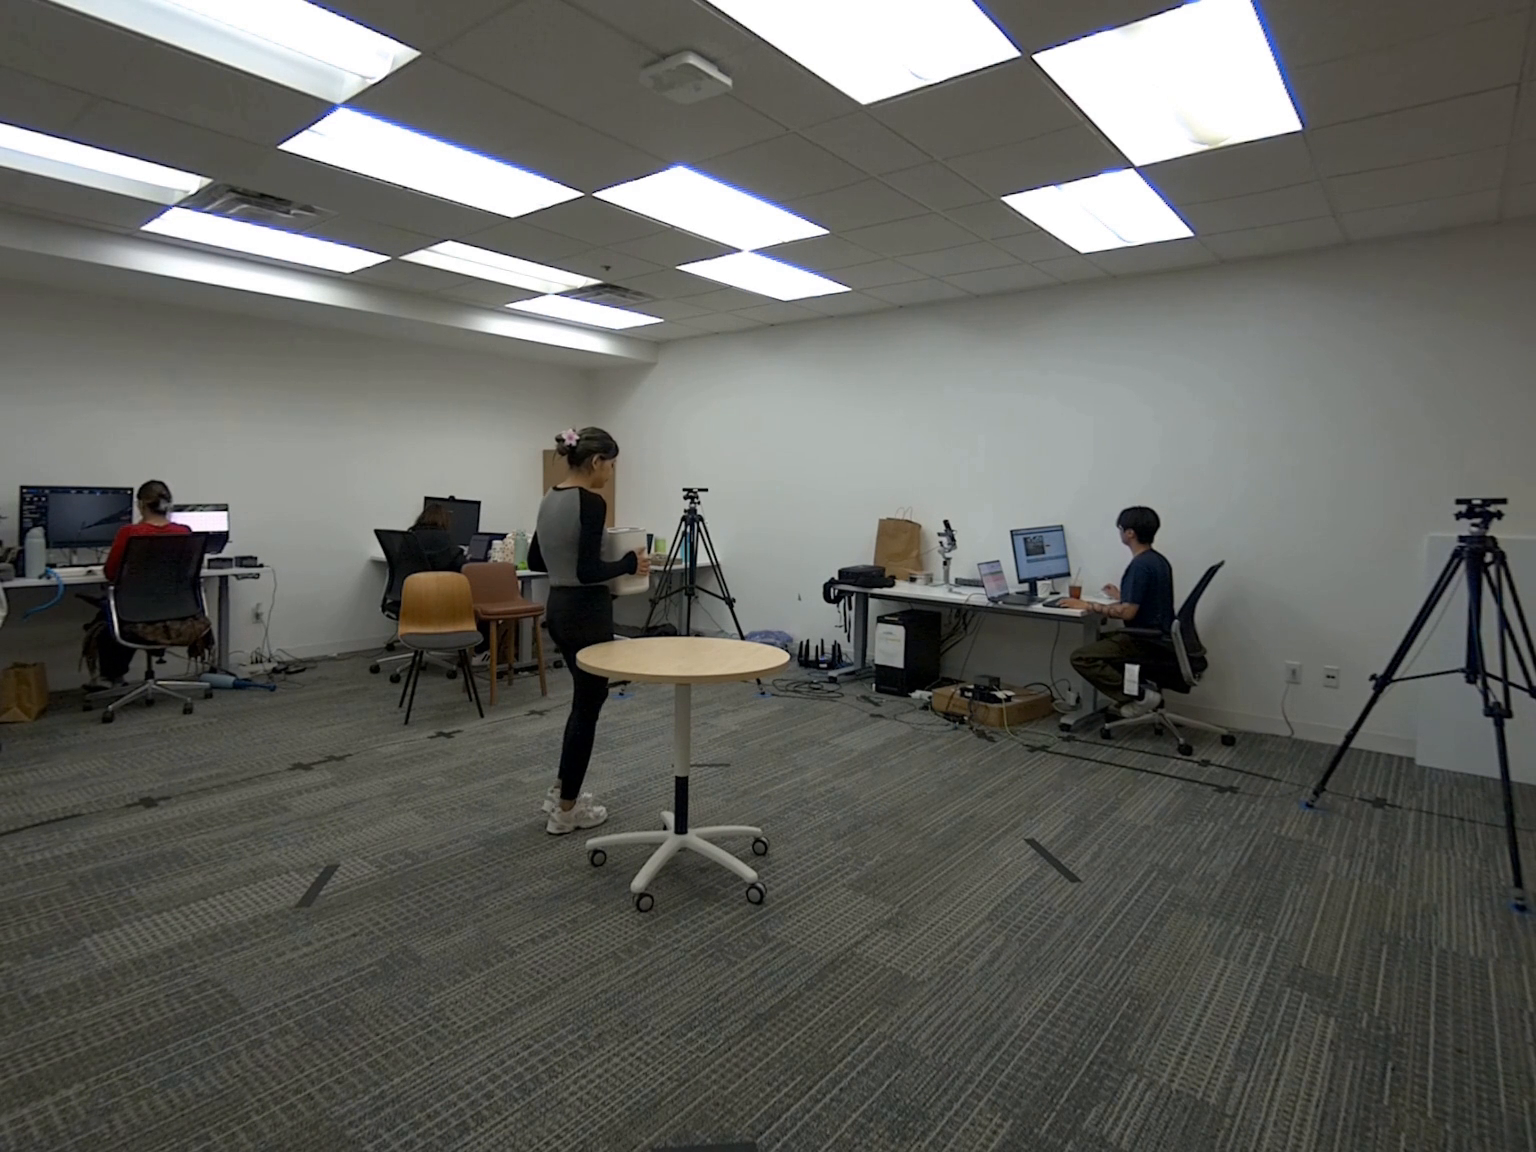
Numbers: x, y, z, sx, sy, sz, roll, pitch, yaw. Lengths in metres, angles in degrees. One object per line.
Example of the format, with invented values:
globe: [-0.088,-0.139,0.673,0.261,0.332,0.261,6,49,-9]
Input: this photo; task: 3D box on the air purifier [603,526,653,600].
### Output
air purifier: [-0.612,-0.061,3.536,0.167,0.263,0.177,-8,11,-34]
